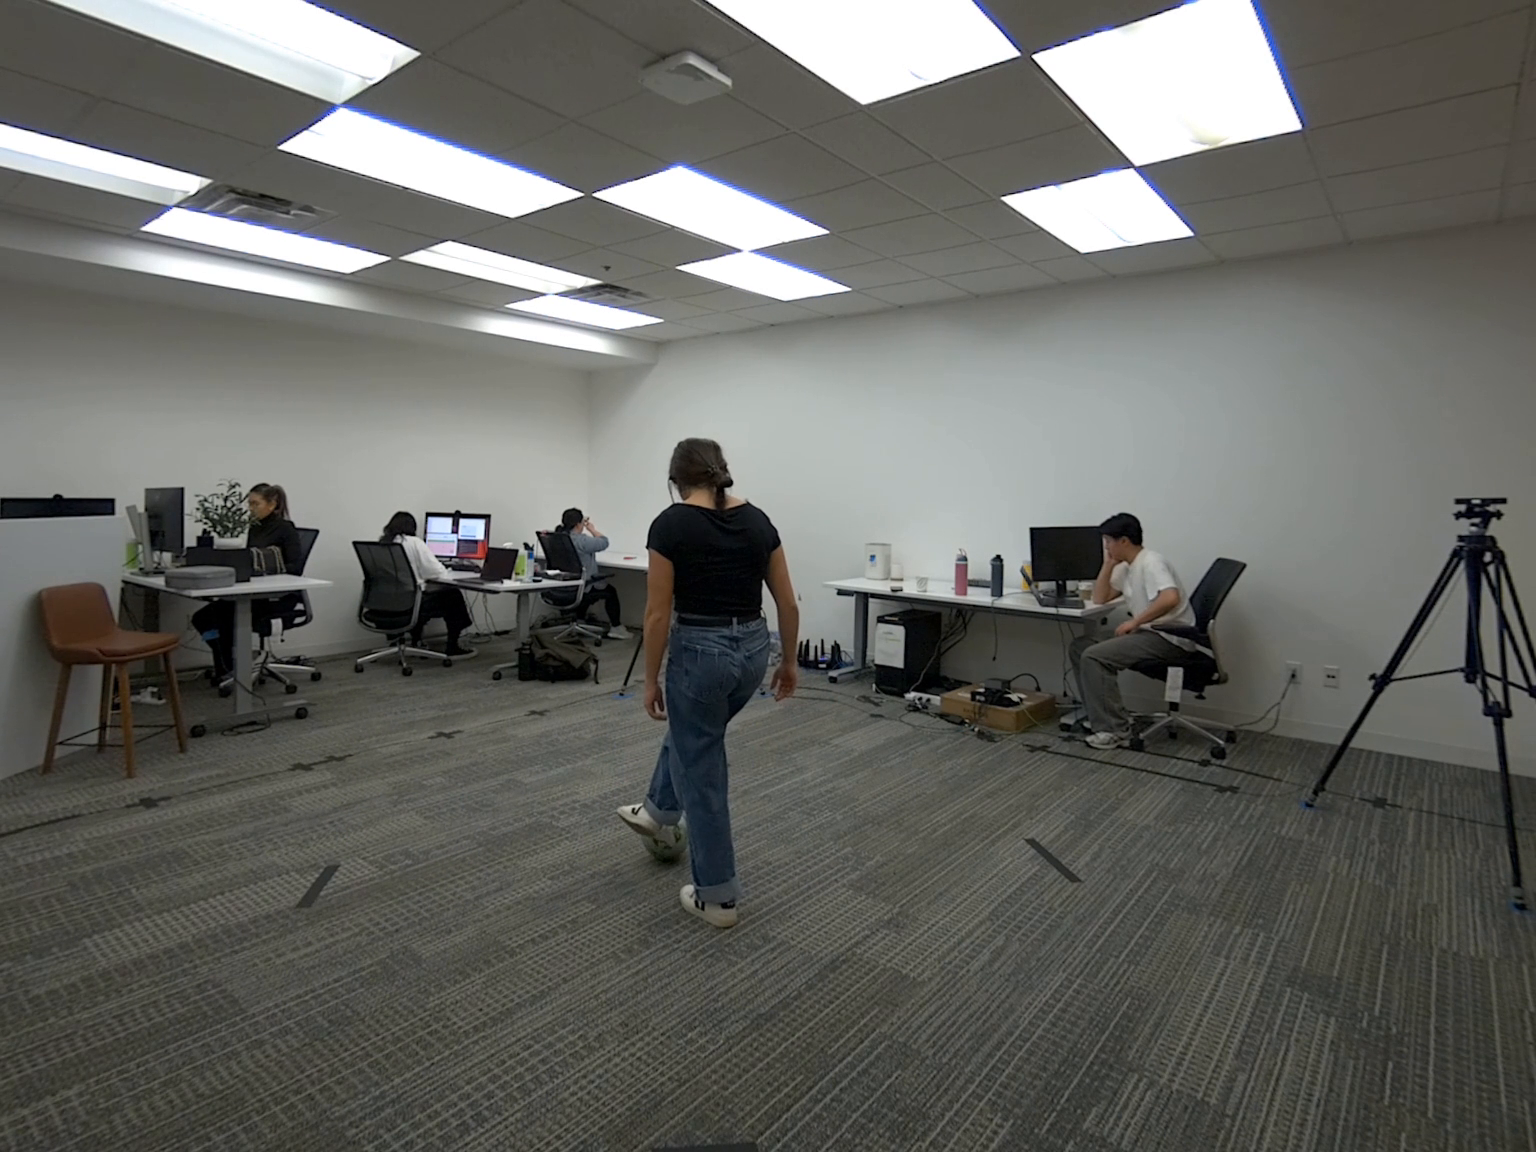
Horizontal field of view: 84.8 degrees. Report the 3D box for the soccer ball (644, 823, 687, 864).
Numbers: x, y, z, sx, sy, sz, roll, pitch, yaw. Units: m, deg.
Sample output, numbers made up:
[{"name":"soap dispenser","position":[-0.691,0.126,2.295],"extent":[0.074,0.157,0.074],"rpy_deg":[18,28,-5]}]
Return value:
[{"name":"soccer ball","position":[-0.369,0.959,3.199],"extent":[0.187,0.187,0.188],"rpy_deg":[1,4,-2]}]
